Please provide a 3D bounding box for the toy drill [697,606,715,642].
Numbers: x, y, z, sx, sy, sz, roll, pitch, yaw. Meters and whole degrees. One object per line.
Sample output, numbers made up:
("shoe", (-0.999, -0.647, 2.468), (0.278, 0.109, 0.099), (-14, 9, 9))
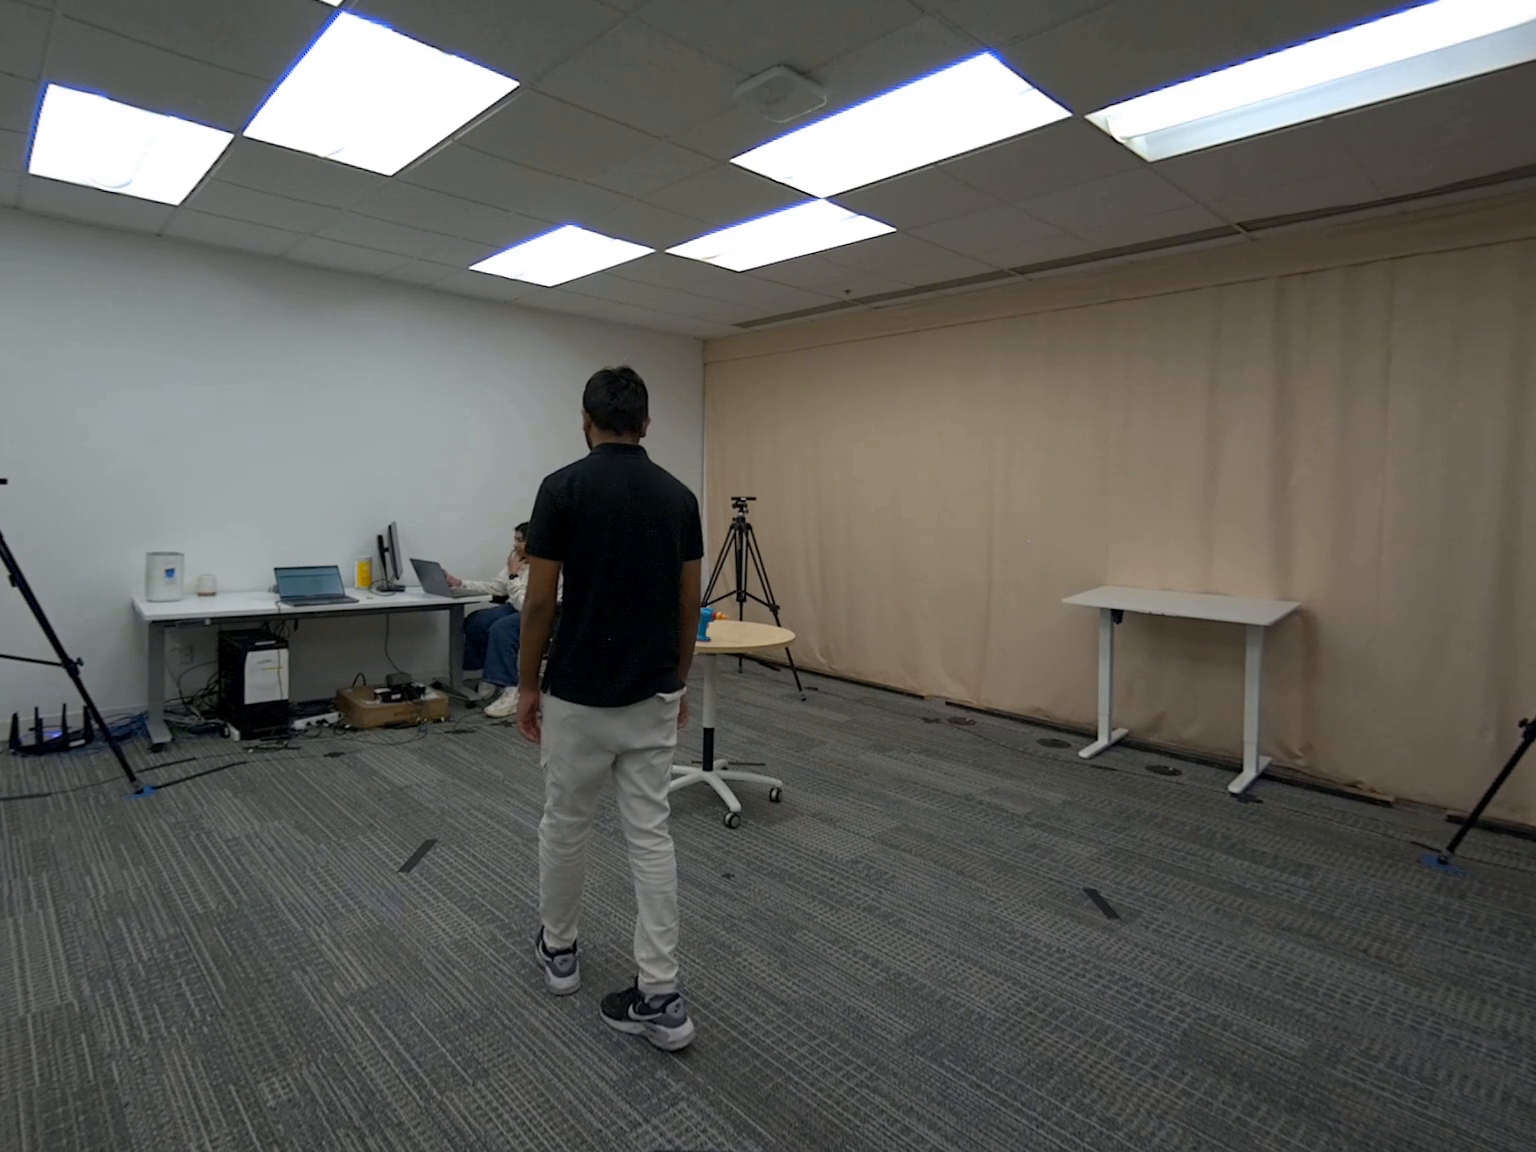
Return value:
("toy drill", (-0.253, 0.208, 3.588), (0.172, 0.146, 0.060), (3, 3, 20))
